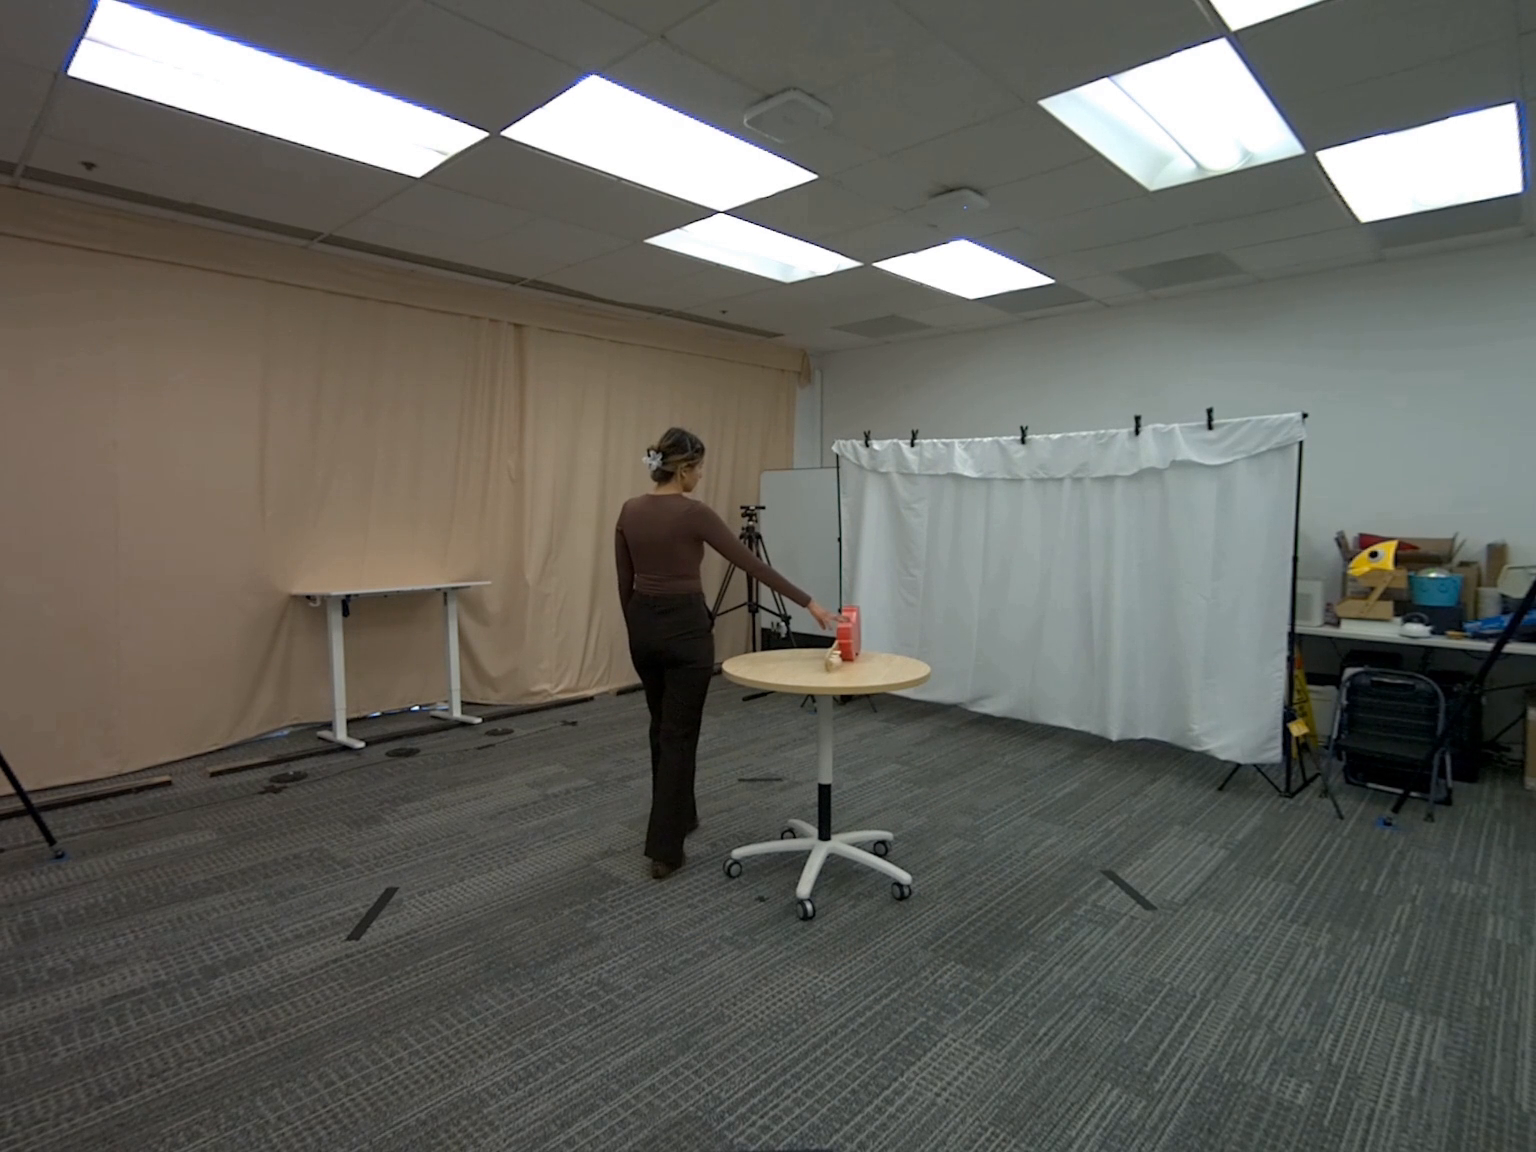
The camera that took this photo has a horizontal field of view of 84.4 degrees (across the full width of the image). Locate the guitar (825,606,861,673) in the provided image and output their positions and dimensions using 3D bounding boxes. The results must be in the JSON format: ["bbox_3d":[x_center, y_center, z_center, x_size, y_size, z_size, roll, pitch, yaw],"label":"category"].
[{"bbox_3d":[0.292,0.286,3.208,0.072,0.190,0.497,1,22,13],"label":"guitar"}]
